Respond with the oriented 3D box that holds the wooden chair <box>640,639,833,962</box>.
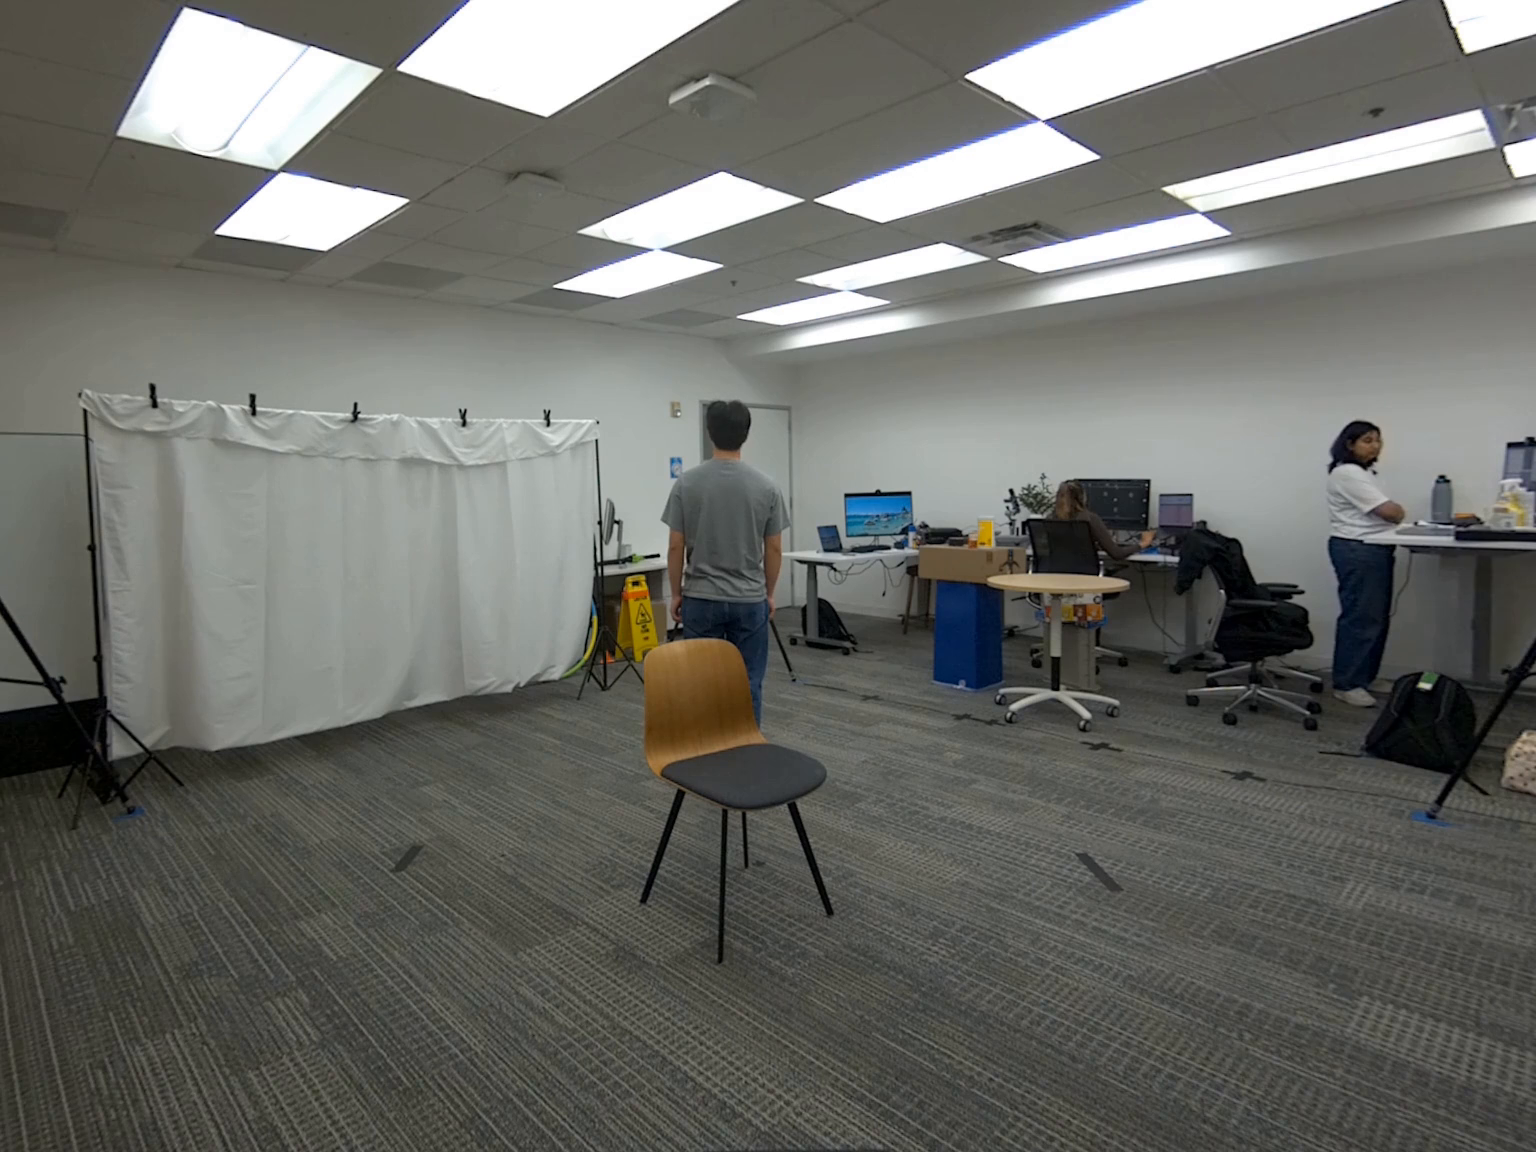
[{"bbox_3d":[-0.112,0.667,2.741,0.466,0.877,0.537,-4,1,-37],"label":"wooden chair"}]
